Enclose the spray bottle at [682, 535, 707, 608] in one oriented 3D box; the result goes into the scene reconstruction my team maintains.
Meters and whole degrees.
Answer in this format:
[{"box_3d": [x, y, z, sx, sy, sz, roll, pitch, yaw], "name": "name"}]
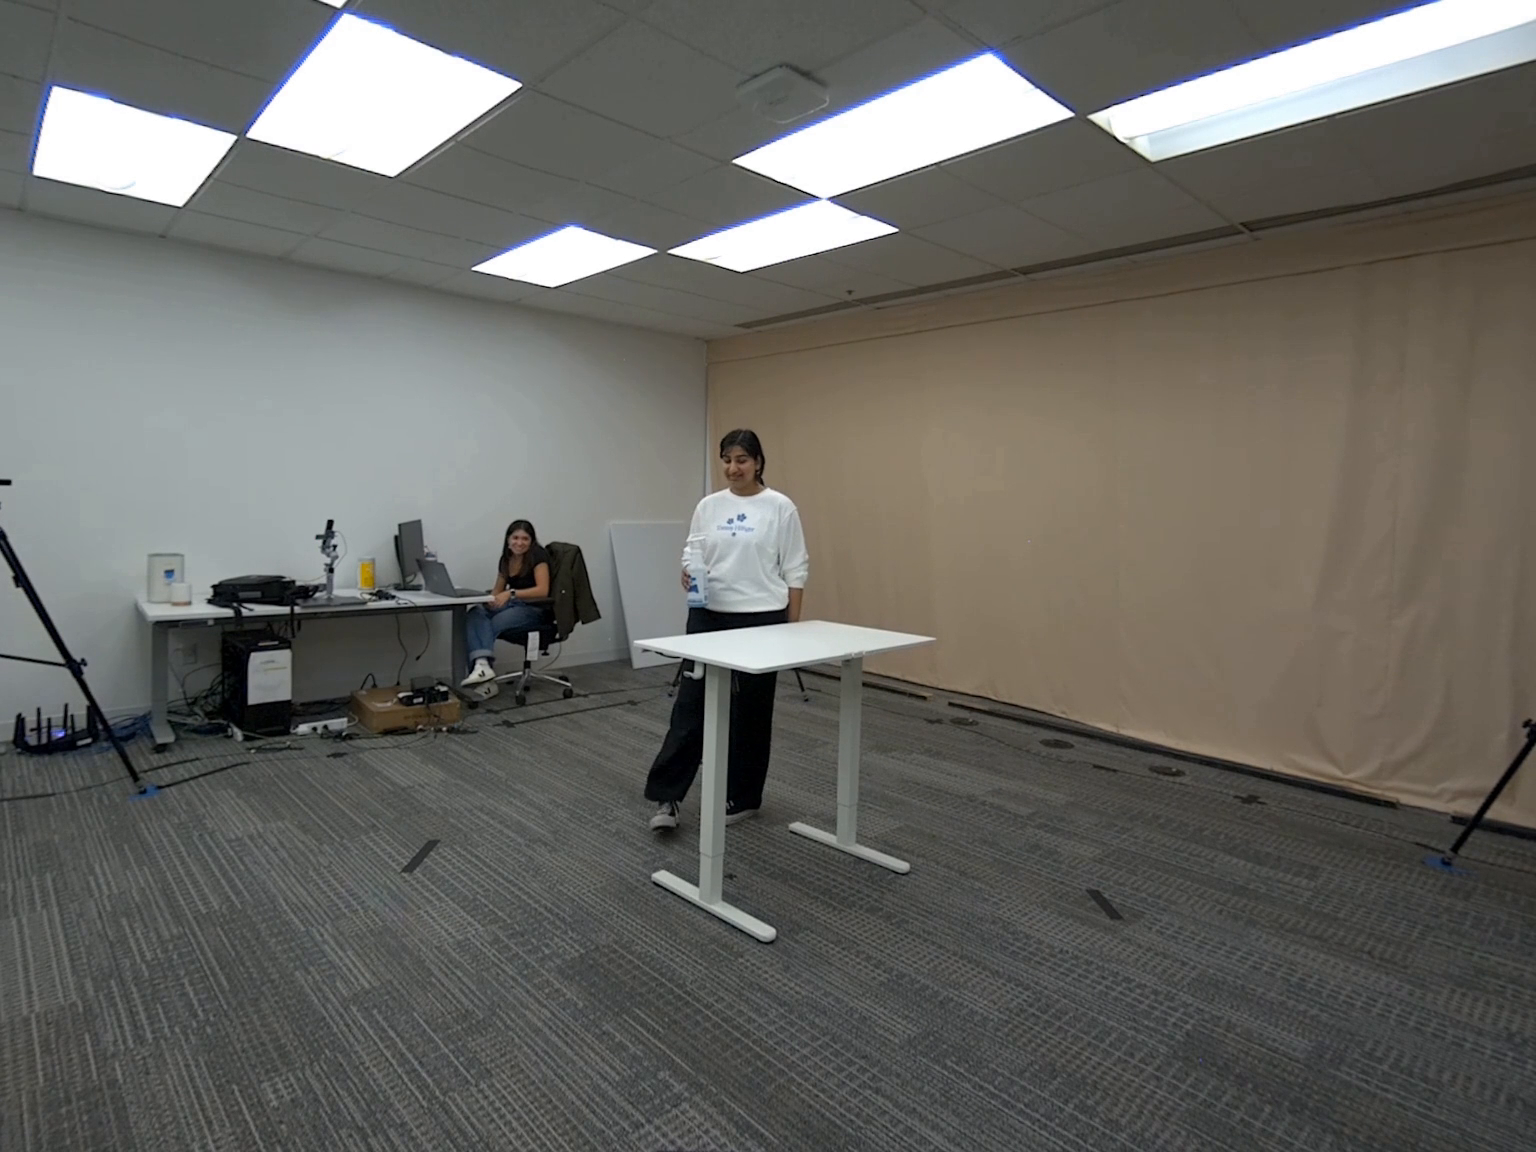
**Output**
[{"box_3d": [-0.303, -0.025, 3.406, 0.090, 0.297, 0.087, -1, 3, 1], "name": "spray bottle"}]
